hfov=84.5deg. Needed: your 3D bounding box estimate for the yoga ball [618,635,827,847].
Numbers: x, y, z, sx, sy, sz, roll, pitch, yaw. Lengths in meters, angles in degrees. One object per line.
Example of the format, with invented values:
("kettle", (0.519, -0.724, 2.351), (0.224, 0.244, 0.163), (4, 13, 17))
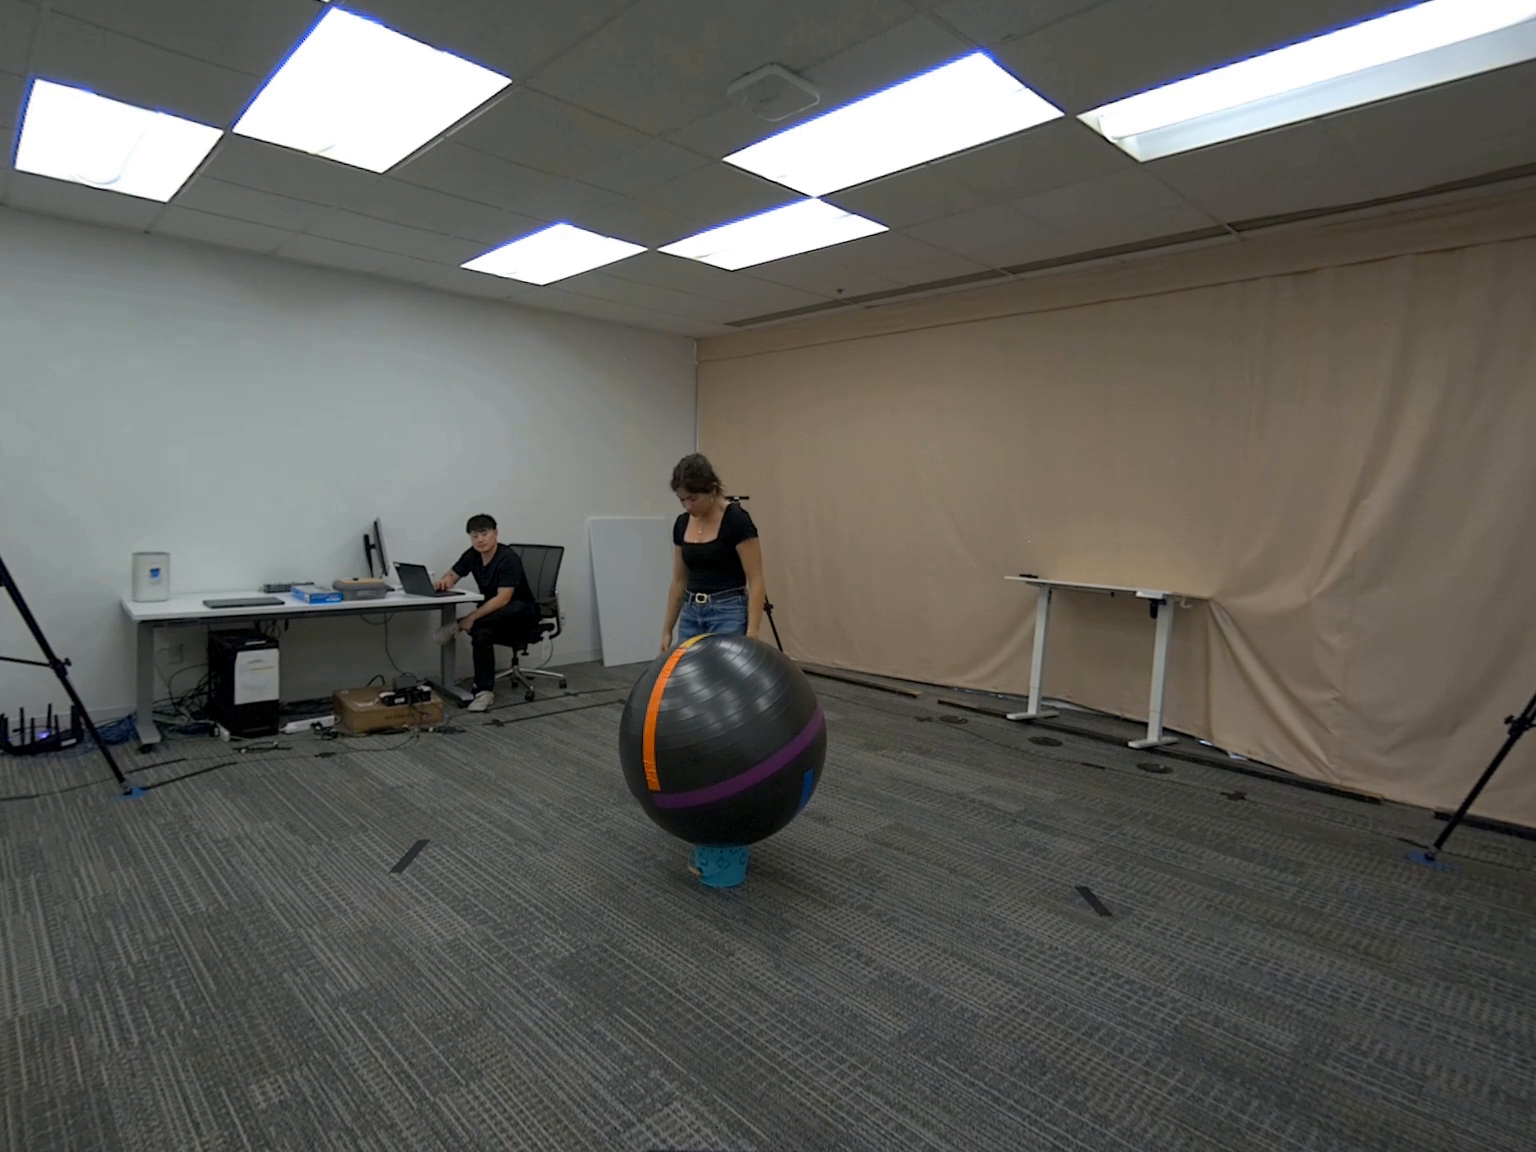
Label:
("yoga ball", (-0.164, 0.595, 3.067), (0.757, 0.756, 0.761), (1, 4, -1))
